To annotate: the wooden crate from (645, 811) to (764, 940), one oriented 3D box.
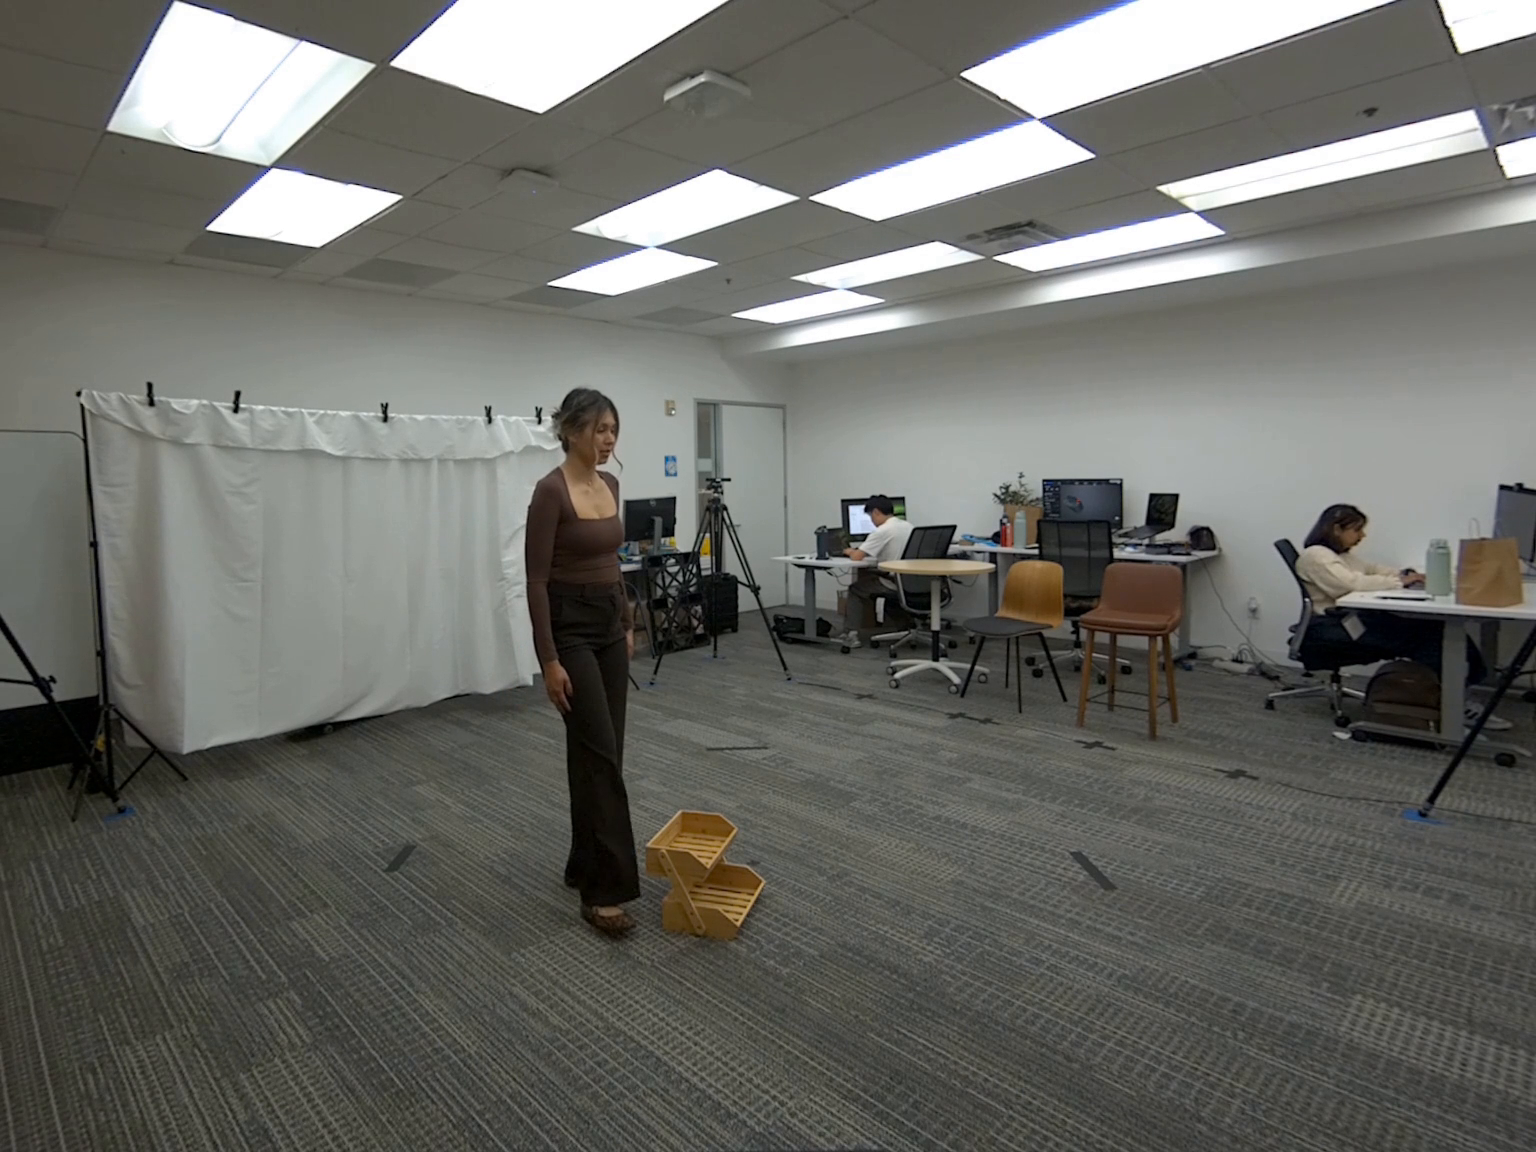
[{"bbox_3d":[-0.189,0.953,2.758,0.307,0.272,0.320,-1,5,17],"label":"wooden crate"}]
